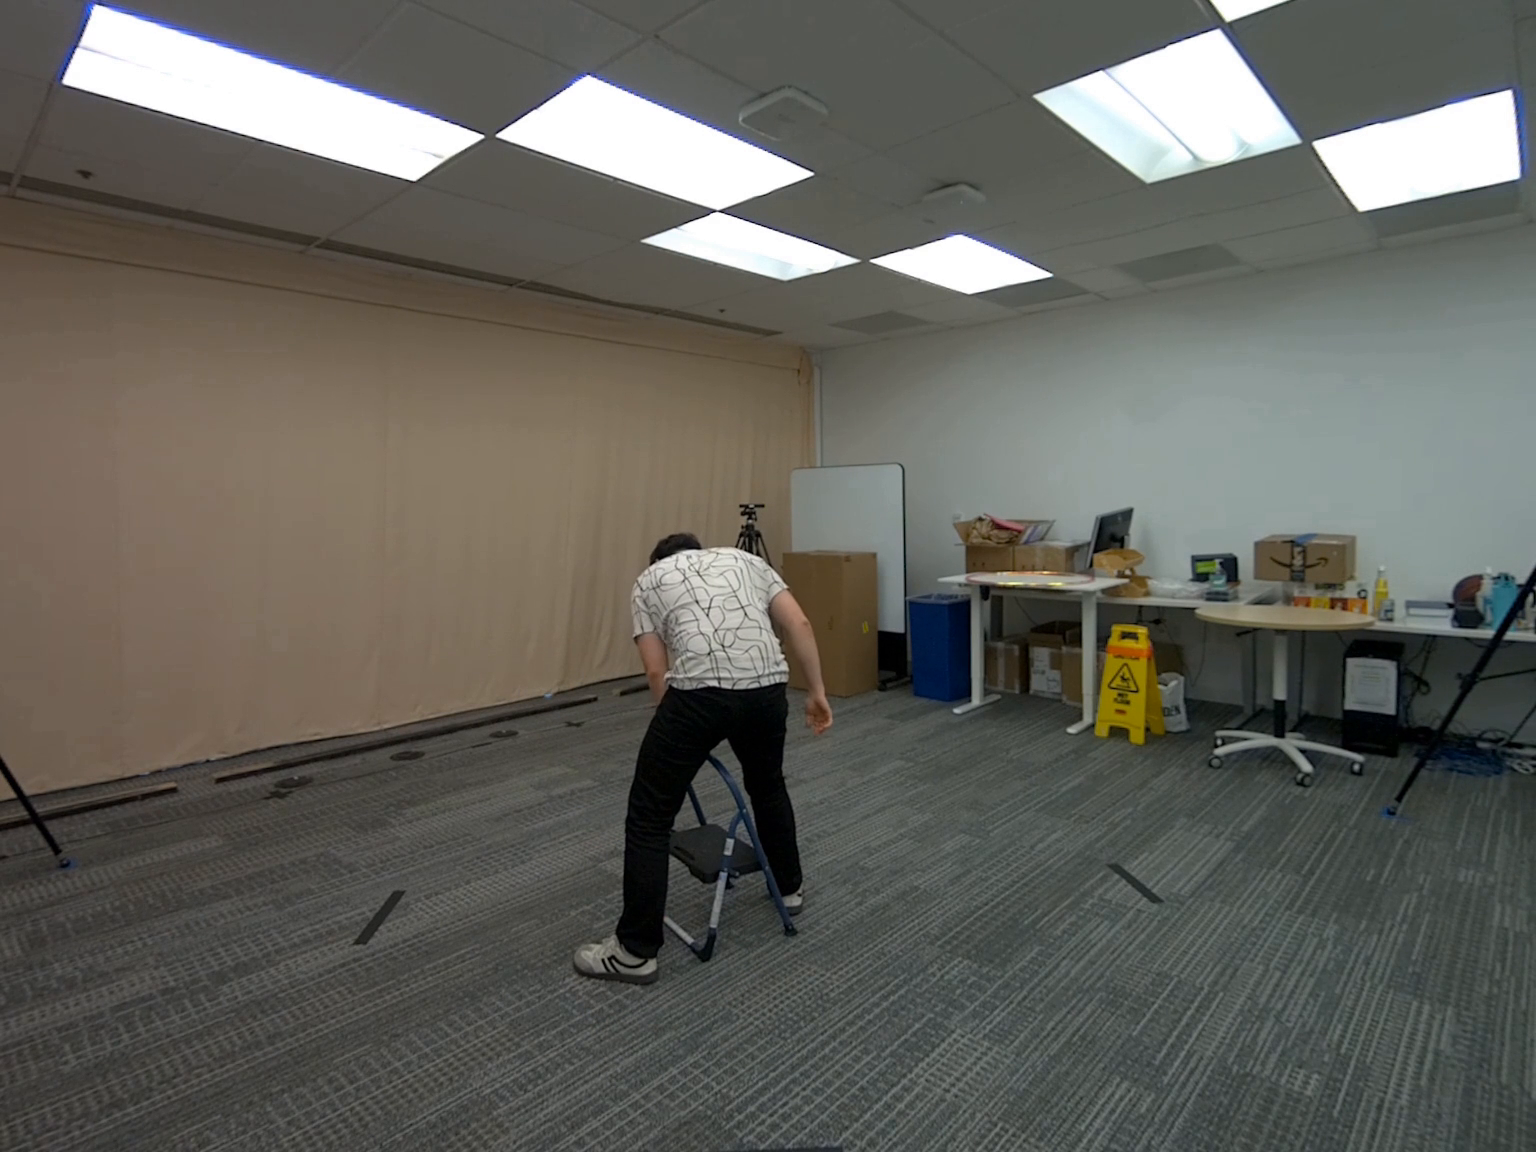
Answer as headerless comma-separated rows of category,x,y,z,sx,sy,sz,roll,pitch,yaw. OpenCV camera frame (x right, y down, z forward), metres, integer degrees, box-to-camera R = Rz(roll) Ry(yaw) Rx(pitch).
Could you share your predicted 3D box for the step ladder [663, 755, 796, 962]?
step ladder,-0.171,0.851,2.808,0.339,0.604,0.444,-3,5,-33
